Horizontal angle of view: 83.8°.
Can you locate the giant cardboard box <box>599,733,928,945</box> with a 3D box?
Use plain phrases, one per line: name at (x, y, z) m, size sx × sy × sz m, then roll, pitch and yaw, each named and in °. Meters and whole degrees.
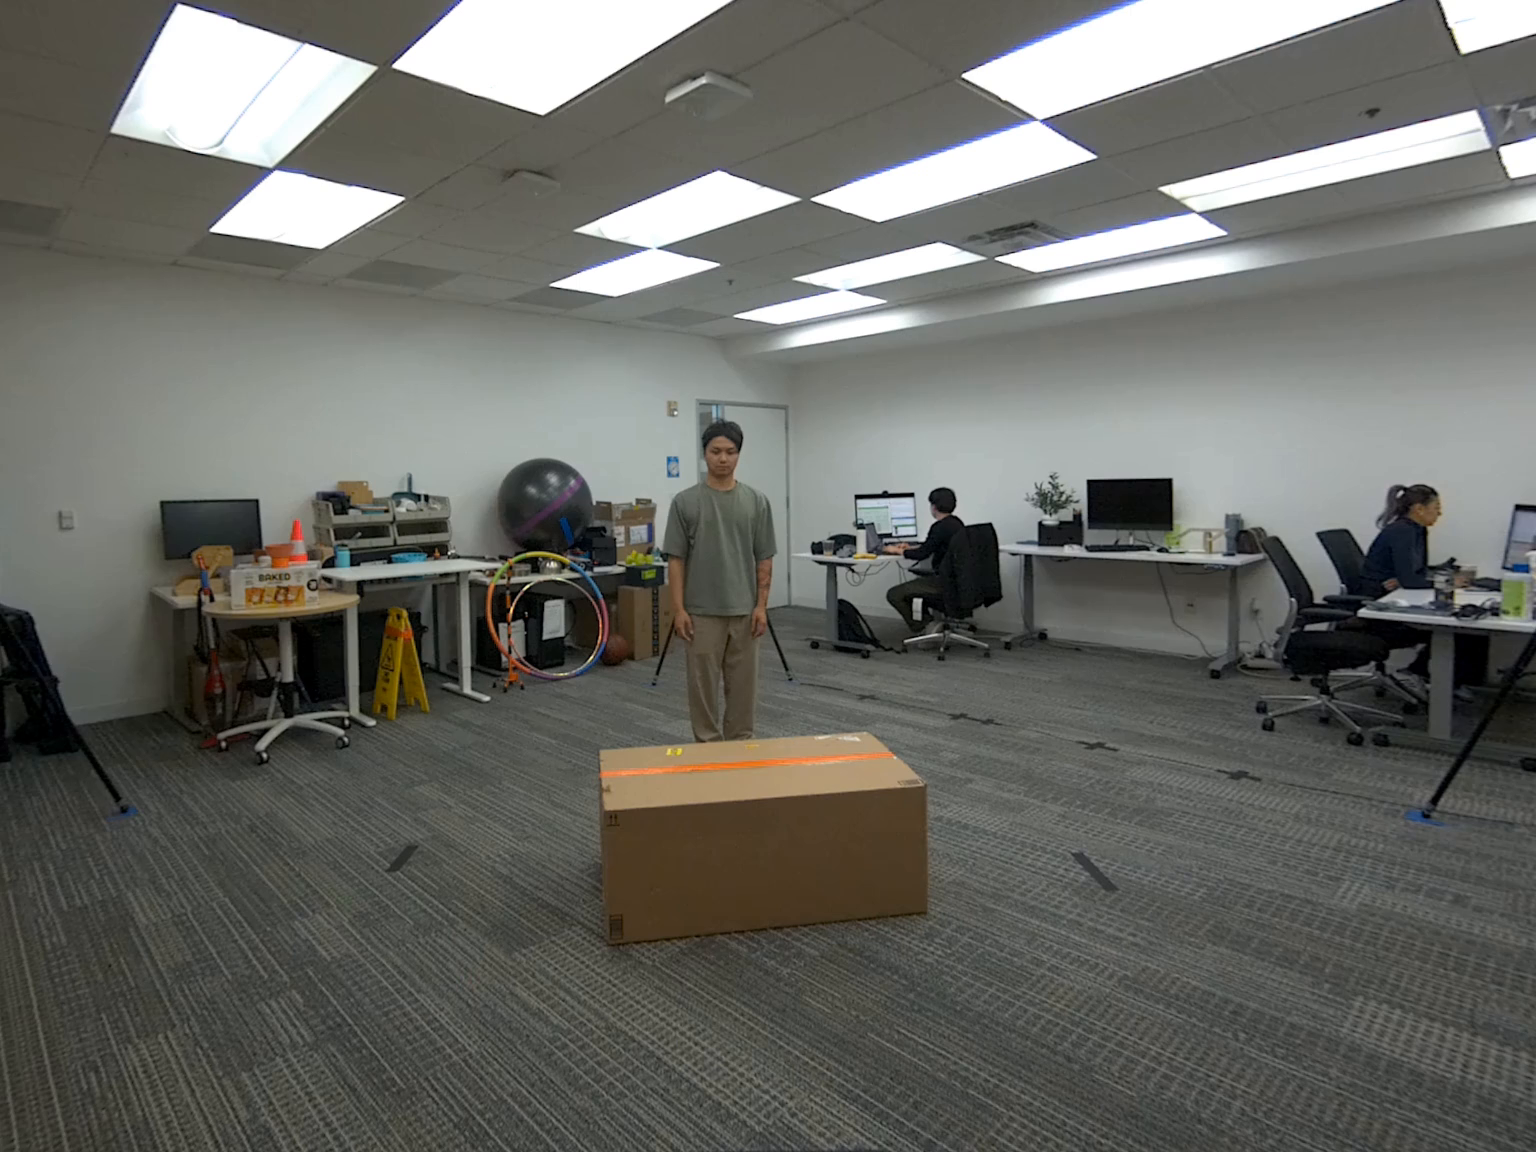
giant cardboard box at (-0.051, 0.848, 2.912) m, size 1.016 × 0.424 × 0.585 m, roll -2°, pitch 5°, yaw -10°
